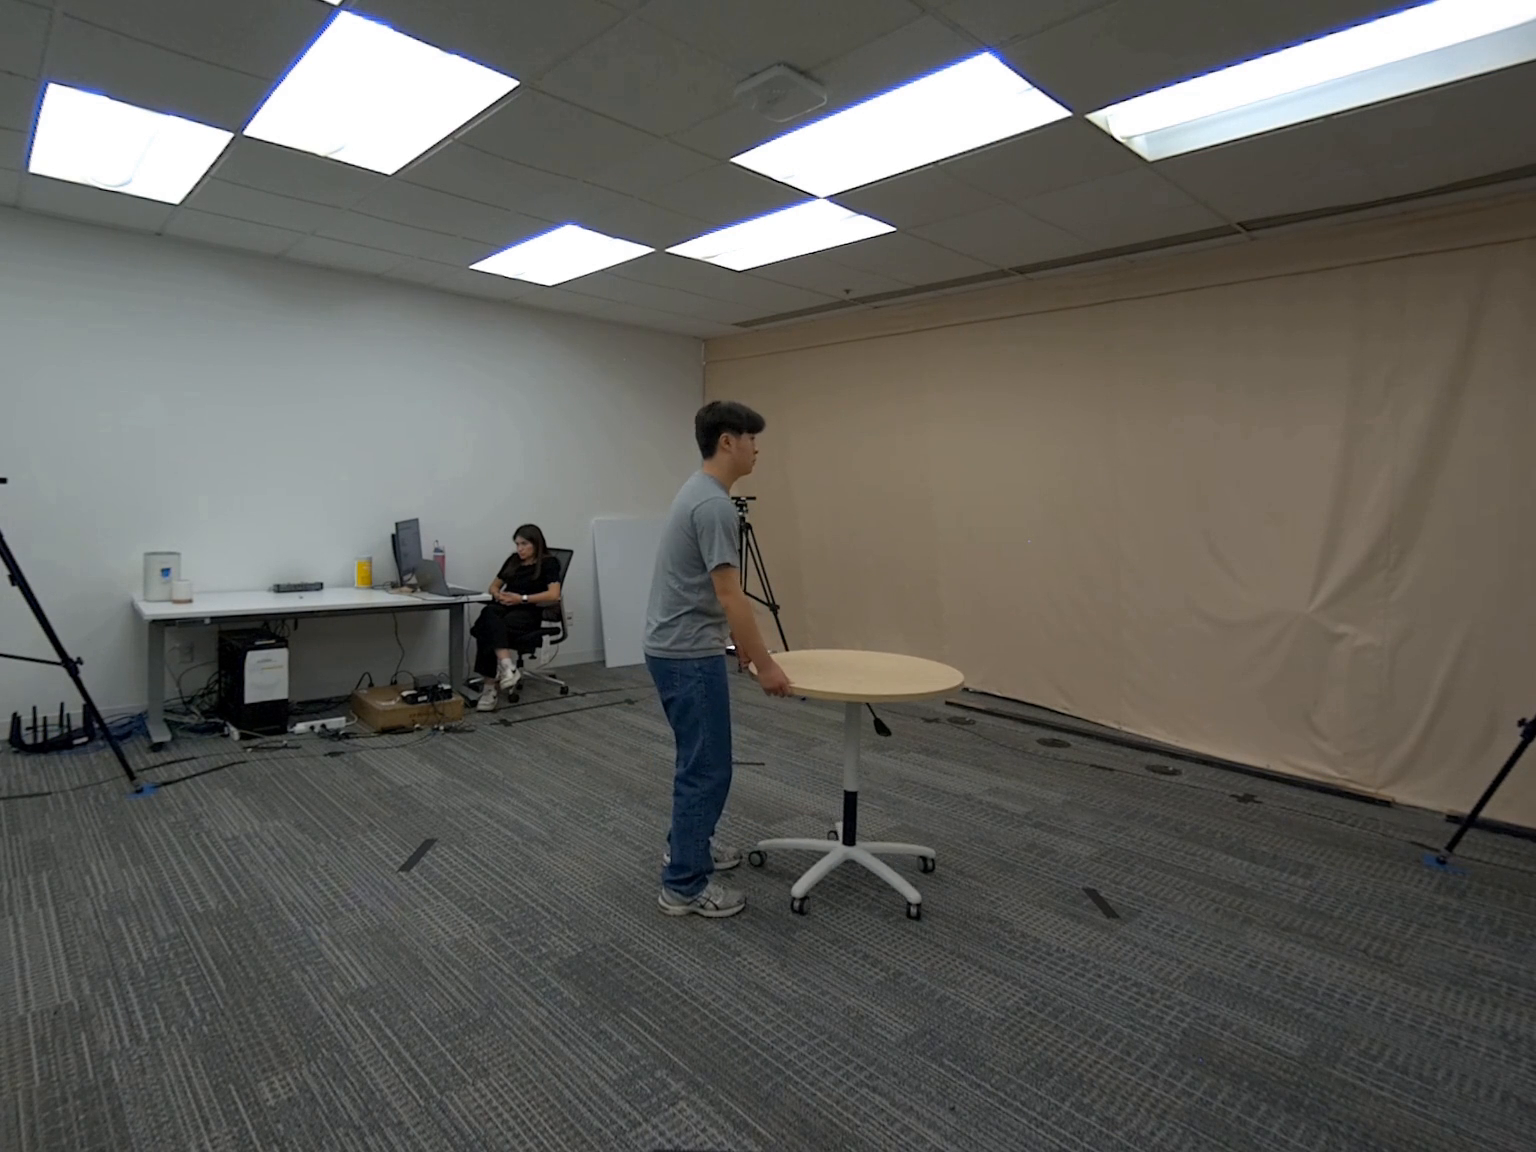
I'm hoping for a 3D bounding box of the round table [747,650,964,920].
[{"bbox_3d":[0.291,0.730,3.058,0.763,0.792,0.767,2,4,-1],"label":"round table"}]
